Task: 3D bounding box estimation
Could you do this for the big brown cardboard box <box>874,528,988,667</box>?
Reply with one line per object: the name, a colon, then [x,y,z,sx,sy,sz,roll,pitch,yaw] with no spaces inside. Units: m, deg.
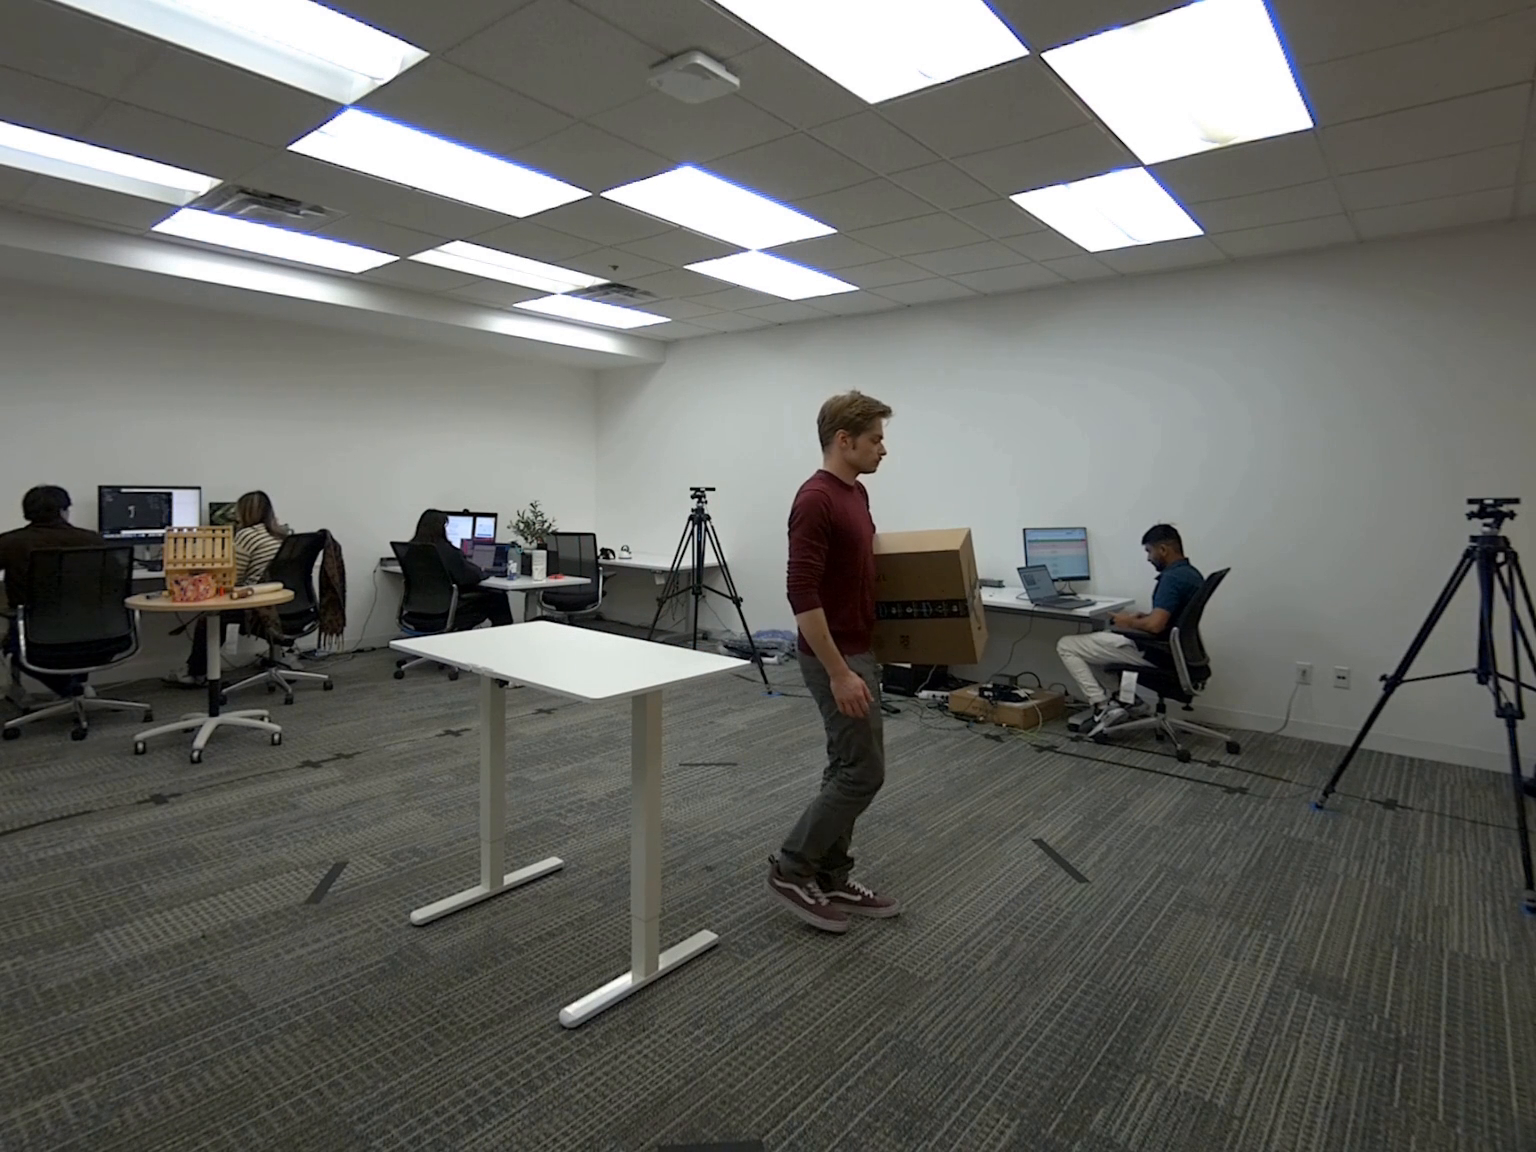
big brown cardboard box: [0.428,0.077,3.012,0.604,0.410,0.232,-2,20,28]
